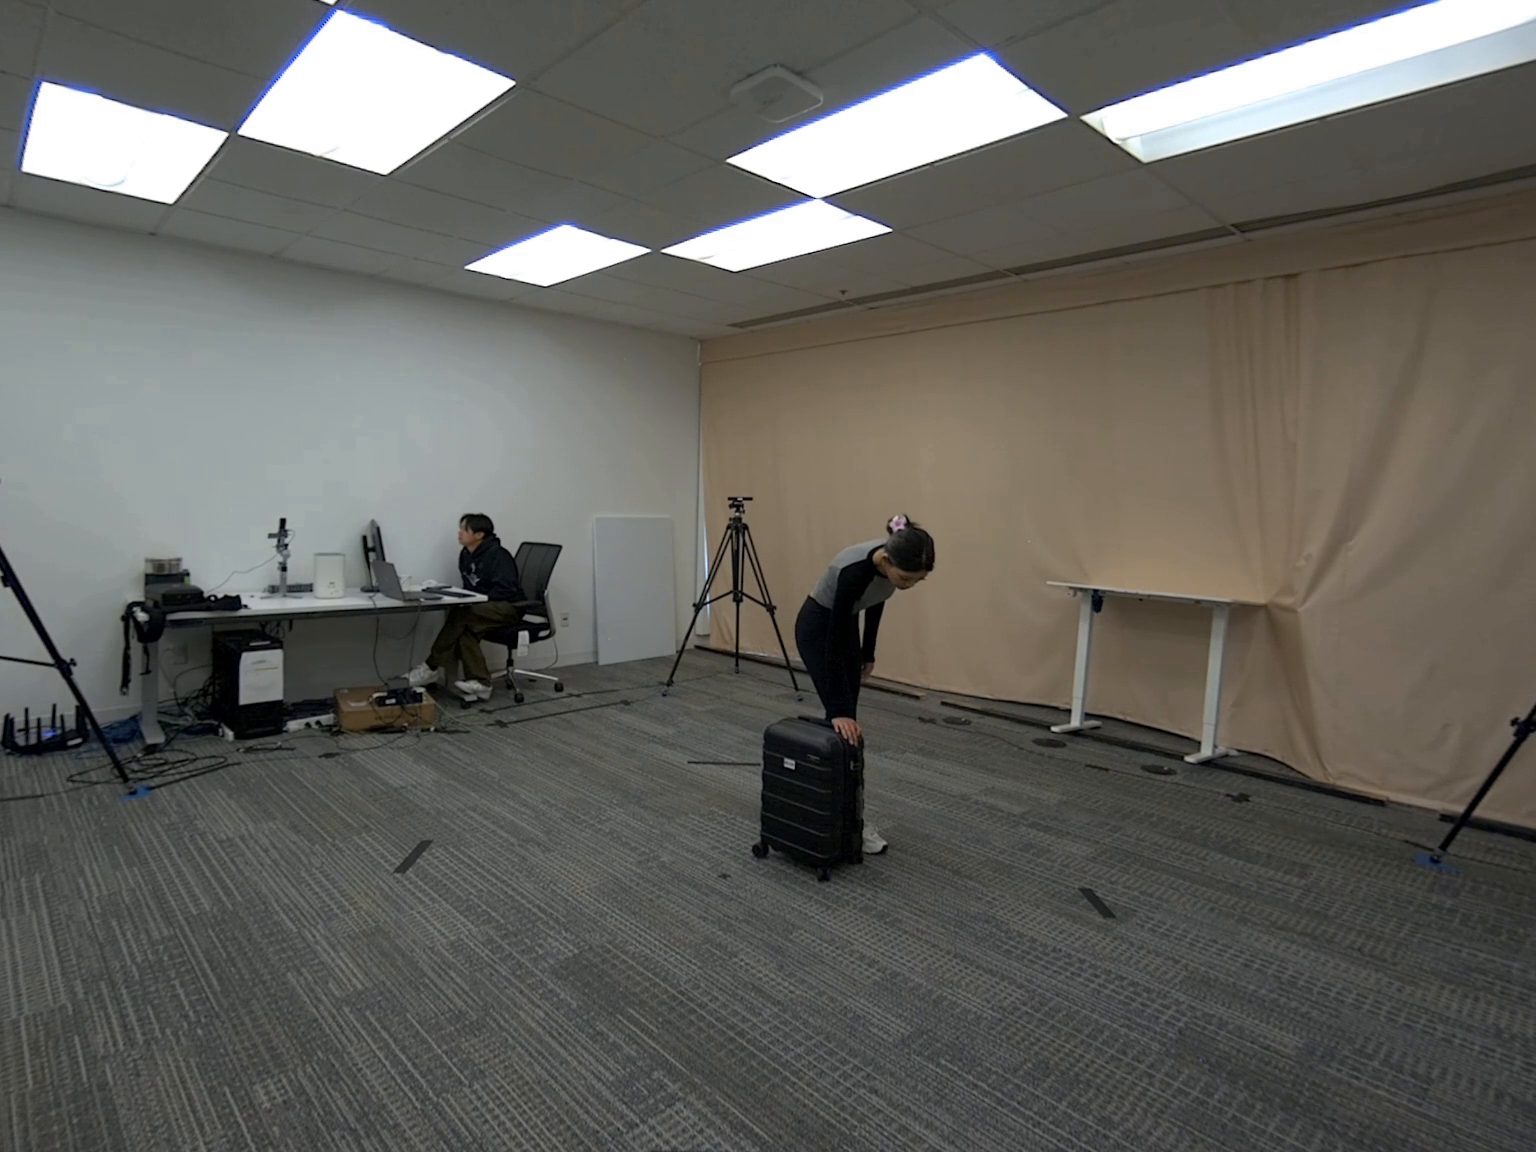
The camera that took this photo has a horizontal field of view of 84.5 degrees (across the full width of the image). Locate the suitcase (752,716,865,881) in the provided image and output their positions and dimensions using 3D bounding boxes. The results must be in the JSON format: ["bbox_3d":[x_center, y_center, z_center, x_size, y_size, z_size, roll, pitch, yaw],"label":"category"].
[{"bbox_3d":[0.160,0.827,3.225,0.385,0.547,0.243,7,7,43],"label":"suitcase"}]
